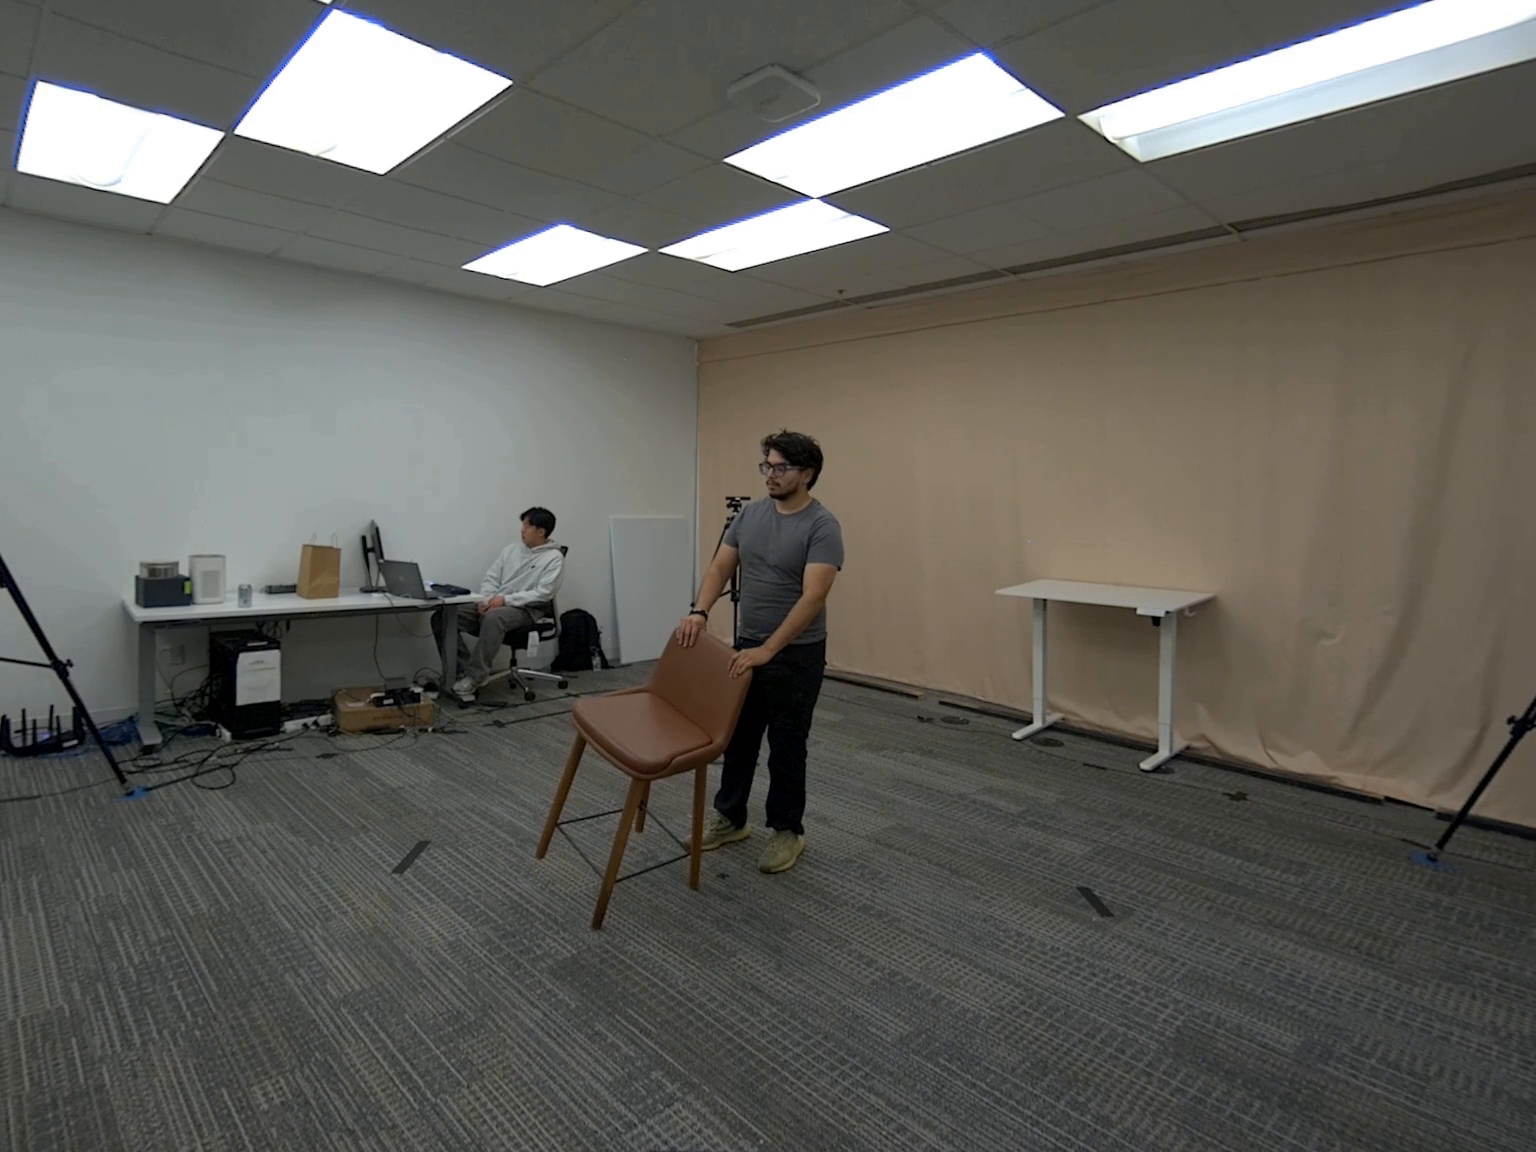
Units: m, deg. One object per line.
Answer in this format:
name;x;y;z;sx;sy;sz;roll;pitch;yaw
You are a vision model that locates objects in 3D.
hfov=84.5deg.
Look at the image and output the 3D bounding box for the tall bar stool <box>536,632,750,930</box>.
tall bar stool;-0.426;0.652;2.875;0.456;0.884;0.471;2;18;-44
